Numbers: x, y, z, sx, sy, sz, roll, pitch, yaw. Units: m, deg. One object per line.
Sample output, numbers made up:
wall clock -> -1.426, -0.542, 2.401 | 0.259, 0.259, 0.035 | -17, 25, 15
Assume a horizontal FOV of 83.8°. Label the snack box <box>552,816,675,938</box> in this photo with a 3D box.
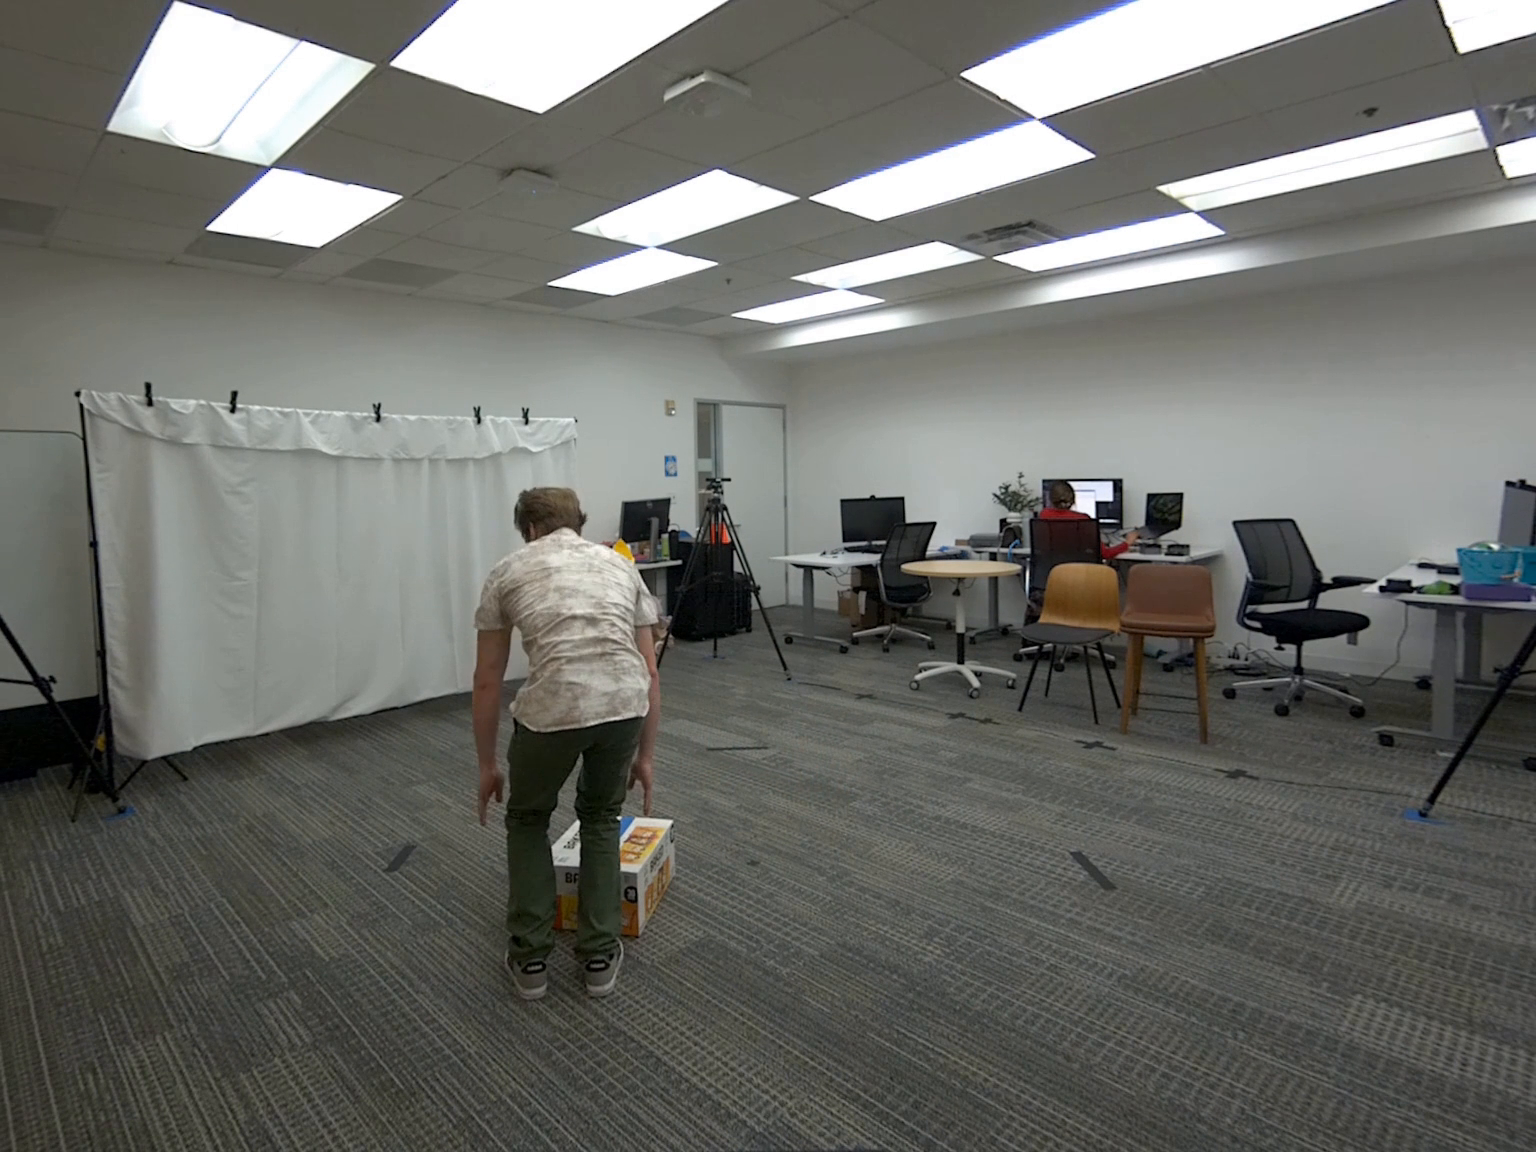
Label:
snack box -> -0.526, 0.978, 2.838 | 0.344, 0.204, 0.403 | 0, 7, 11
